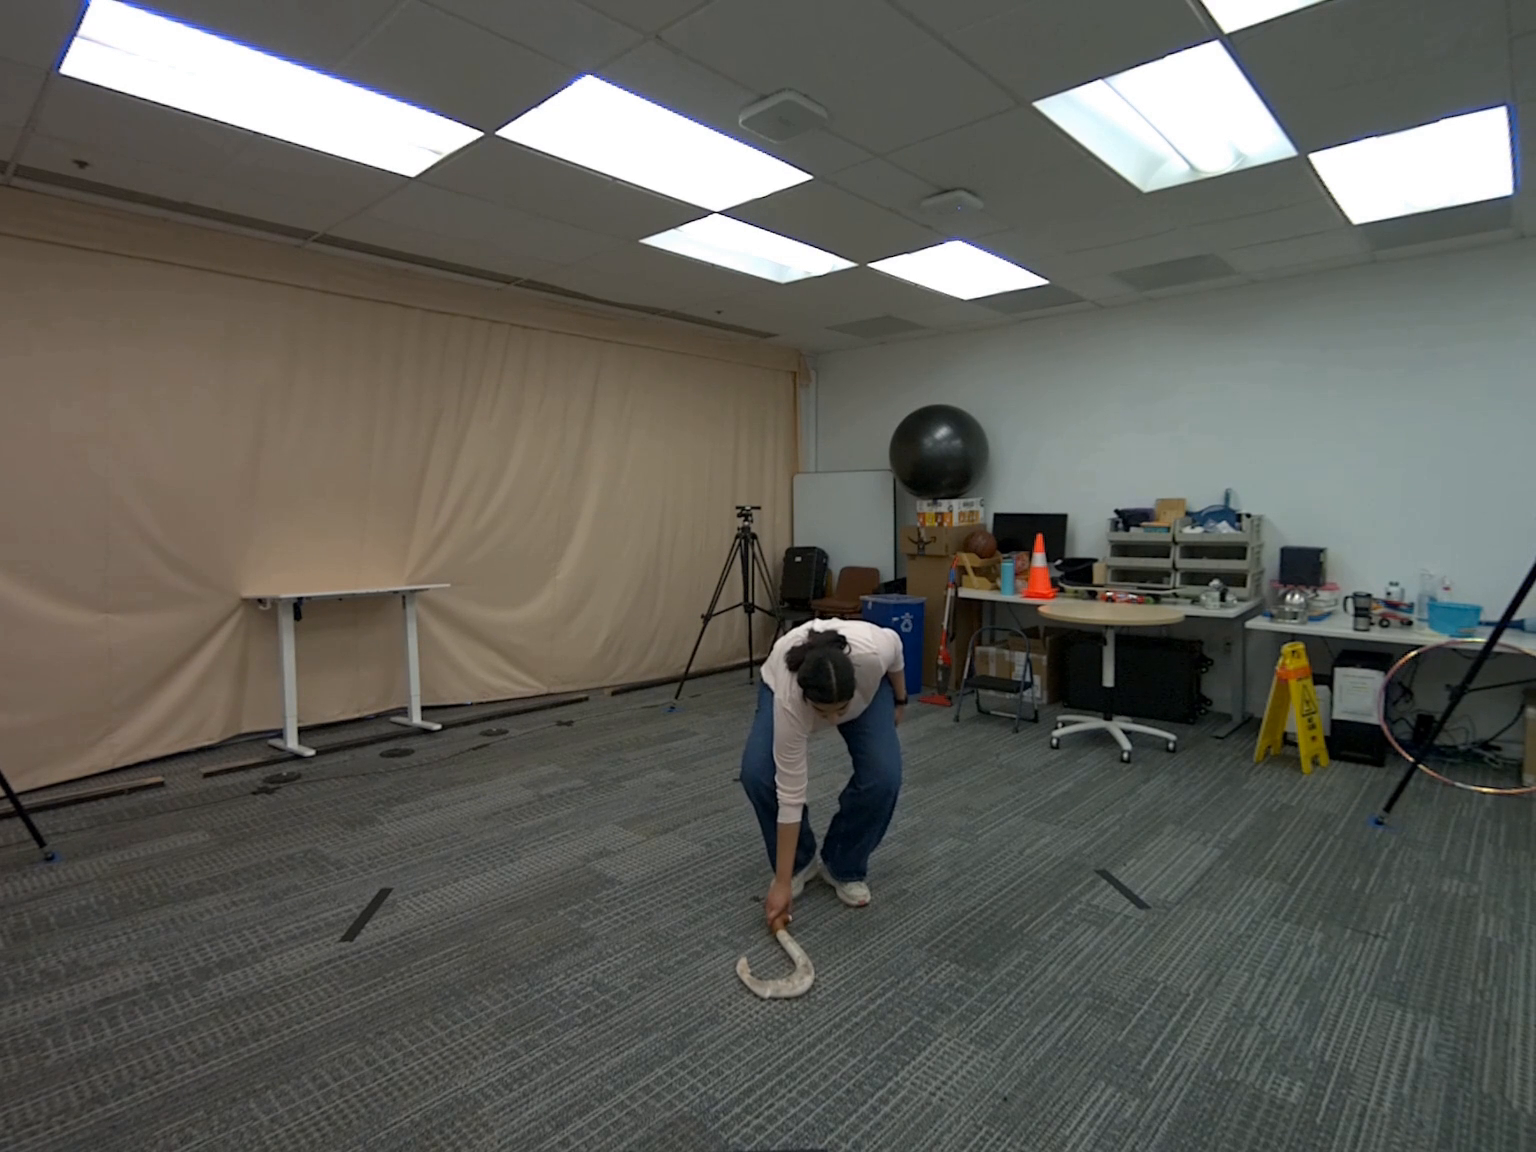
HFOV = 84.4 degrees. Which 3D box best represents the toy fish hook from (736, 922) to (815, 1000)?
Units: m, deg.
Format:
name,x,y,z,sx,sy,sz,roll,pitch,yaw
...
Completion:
name,x,y,z,sx,sy,sz,roll,pitch,yaw
toy fish hook,0.004,1.132,2.615,0.223,0.048,0.512,1,8,-8
